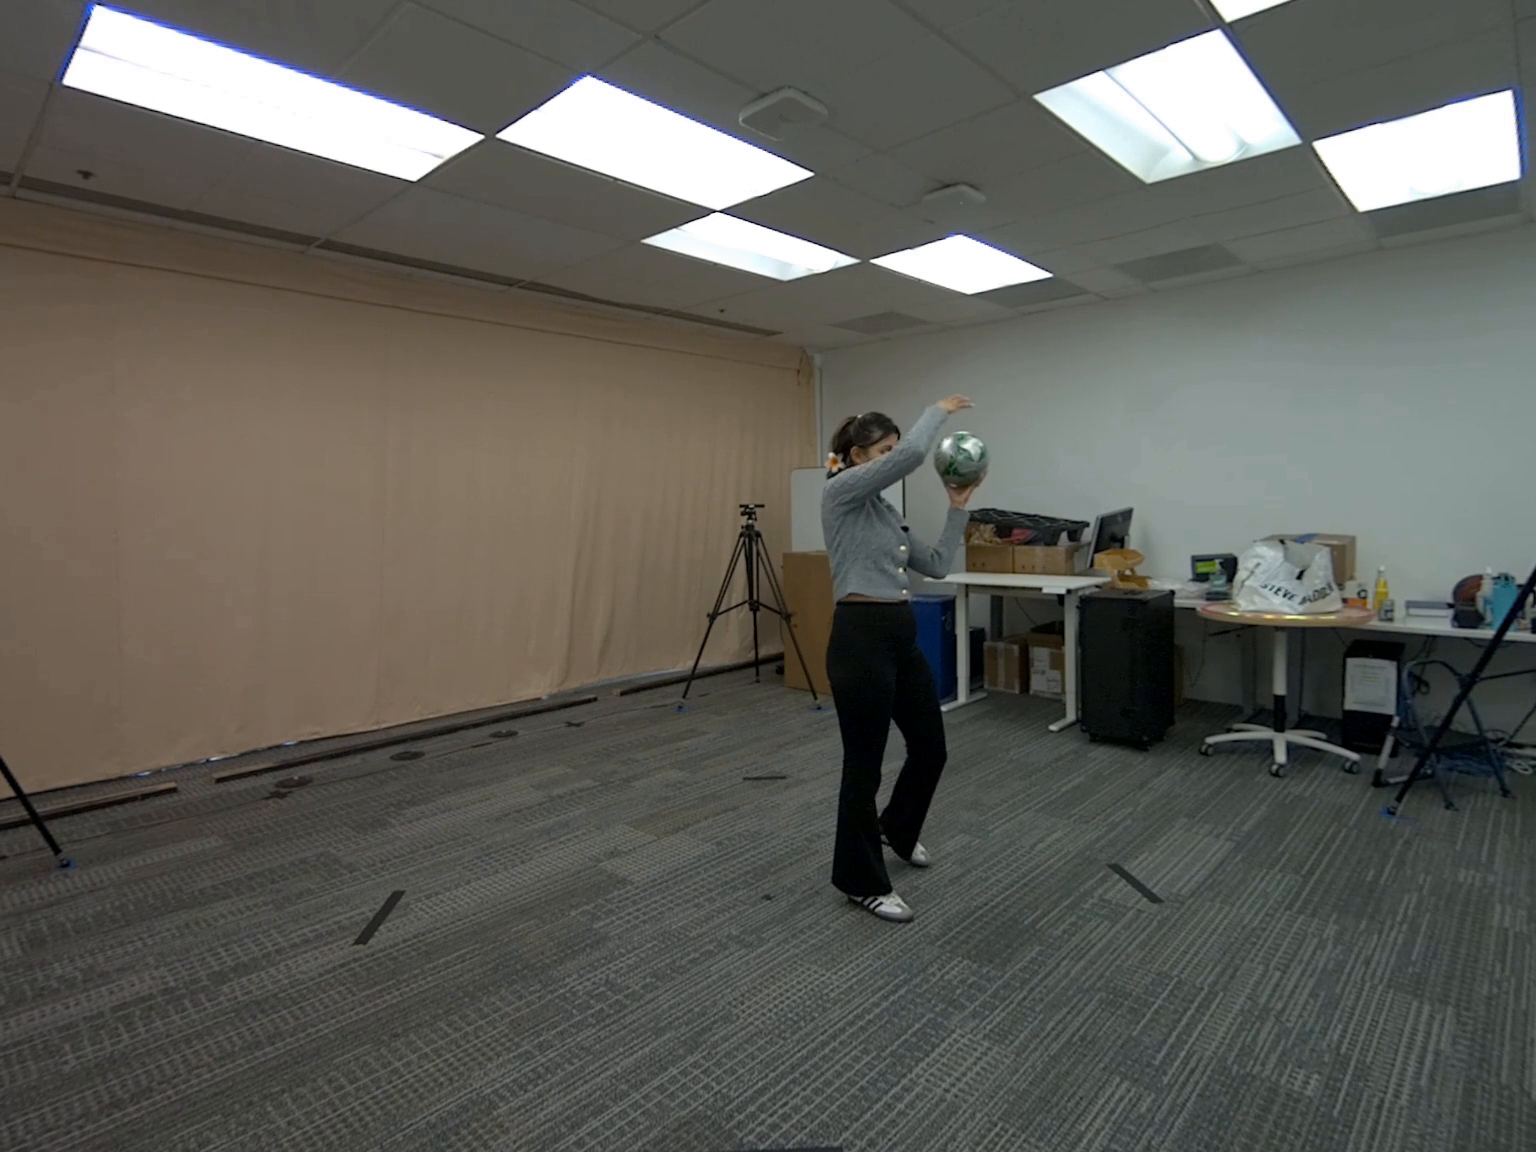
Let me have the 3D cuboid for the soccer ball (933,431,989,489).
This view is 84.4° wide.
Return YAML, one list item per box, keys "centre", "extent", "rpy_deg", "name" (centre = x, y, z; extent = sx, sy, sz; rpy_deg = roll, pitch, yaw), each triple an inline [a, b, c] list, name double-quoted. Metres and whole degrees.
- centre: [0.680, -0.406, 2.953]
  extent: [0.187, 0.187, 0.188]
  rpy_deg: [-1, 4, -2]
  name: "soccer ball"
